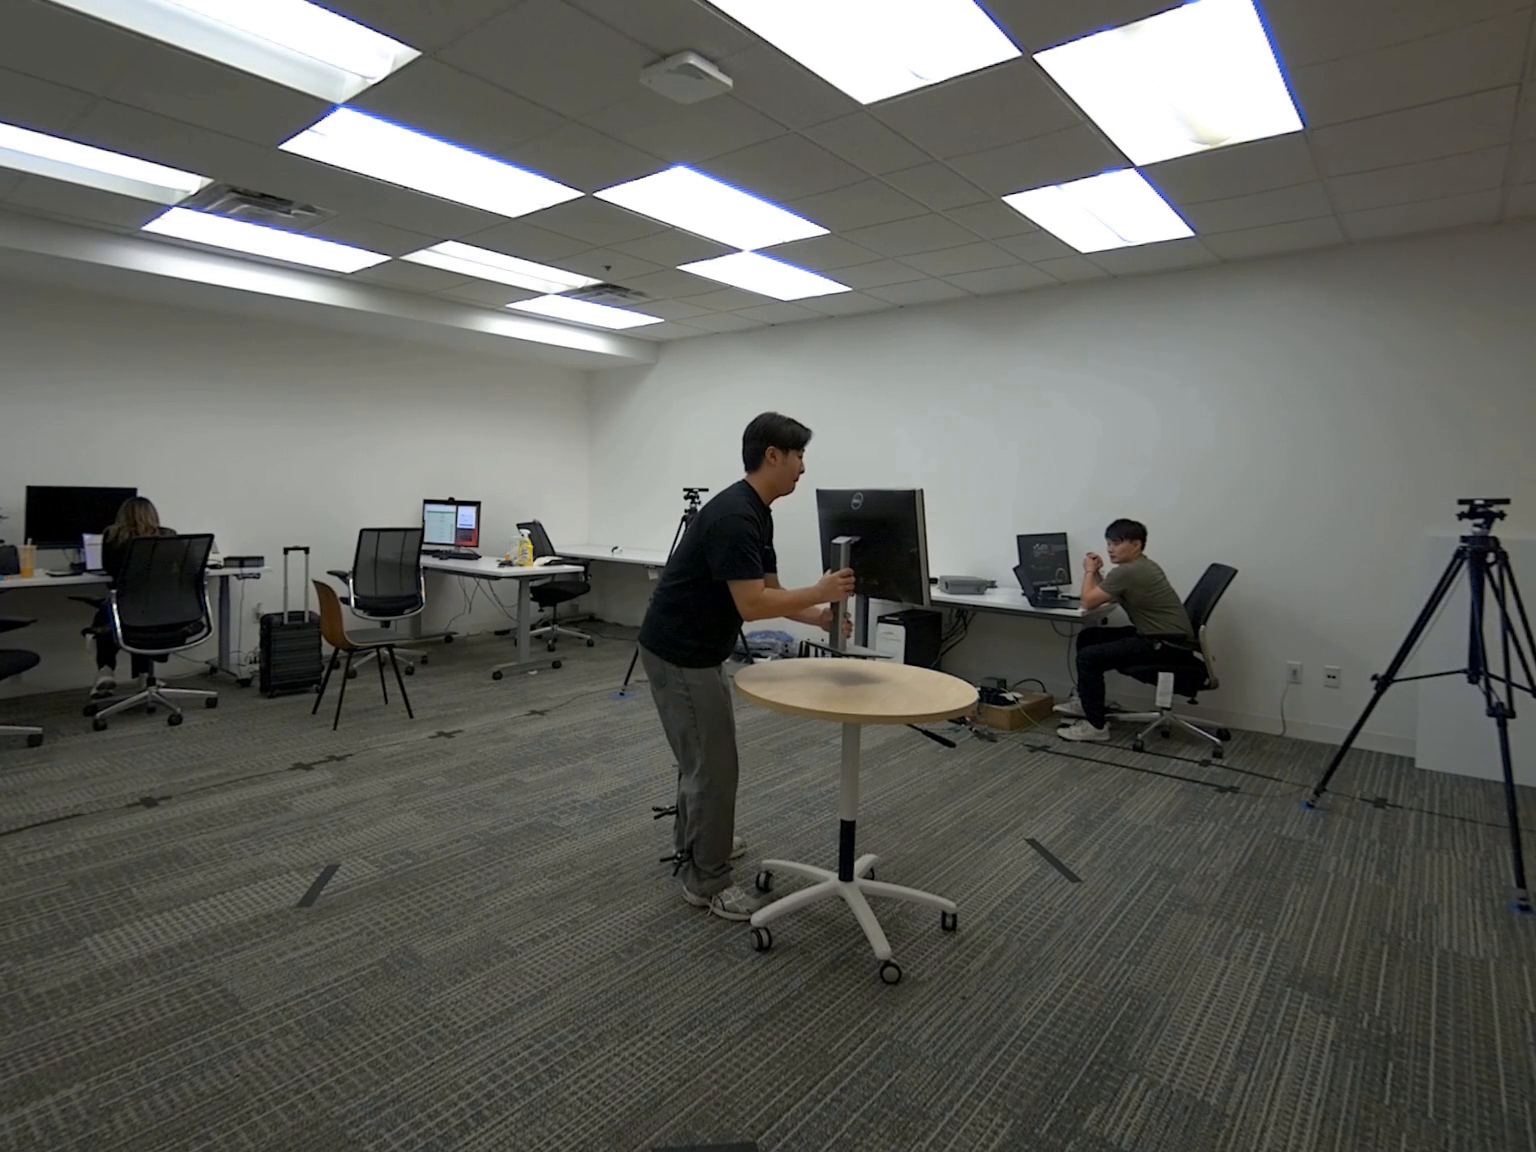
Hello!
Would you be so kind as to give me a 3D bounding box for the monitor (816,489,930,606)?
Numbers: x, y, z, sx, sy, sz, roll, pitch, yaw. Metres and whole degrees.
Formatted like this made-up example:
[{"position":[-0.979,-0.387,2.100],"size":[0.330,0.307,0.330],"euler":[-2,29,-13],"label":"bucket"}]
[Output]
[{"position":[0.289,-0.007,2.797],"size":[0.216,0.566,0.577],"euler":[9,0,-26],"label":"monitor"}]
